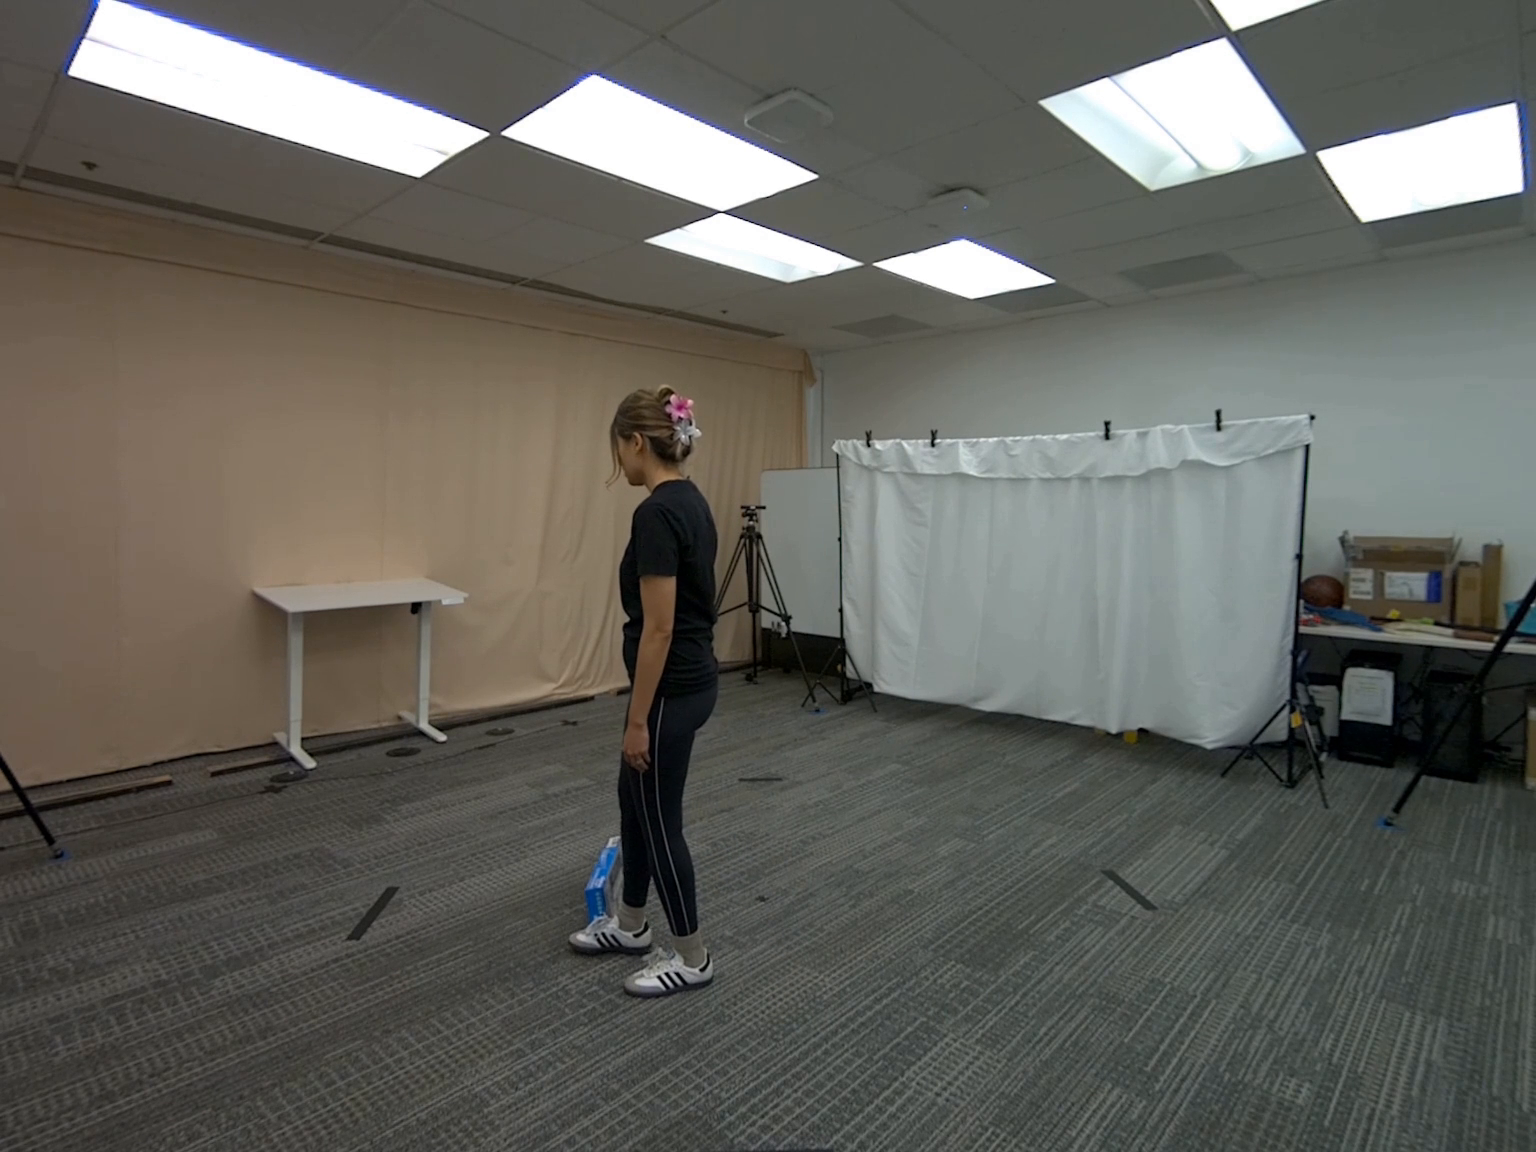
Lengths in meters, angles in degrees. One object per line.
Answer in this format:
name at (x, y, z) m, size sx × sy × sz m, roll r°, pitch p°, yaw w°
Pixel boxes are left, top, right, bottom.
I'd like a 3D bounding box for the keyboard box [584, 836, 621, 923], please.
keyboard box at (-0.546, 1.068, 2.901) m, size 0.059 × 0.175 × 0.437 m, roll -8°, pitch 4°, yaw 0°
